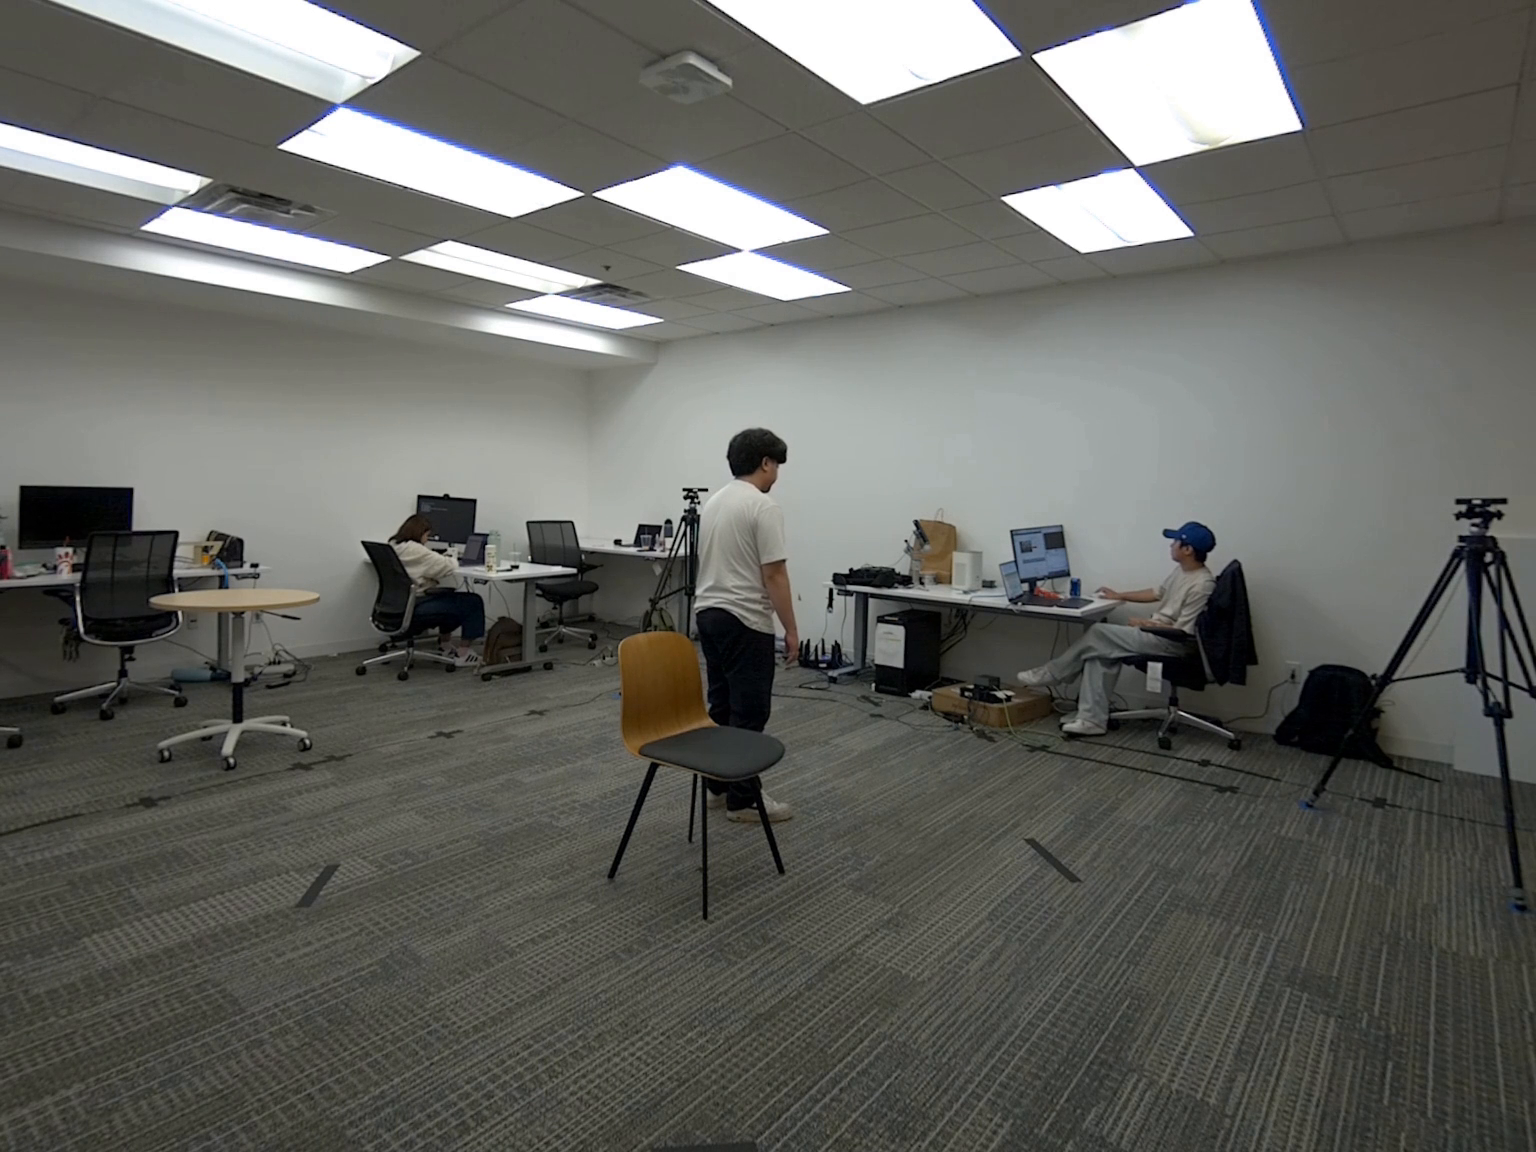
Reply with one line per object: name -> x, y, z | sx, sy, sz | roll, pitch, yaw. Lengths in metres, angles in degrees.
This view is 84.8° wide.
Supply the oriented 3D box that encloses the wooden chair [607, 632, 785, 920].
wooden chair -> -0.247, 0.653, 3.015 | 0.539, 0.878, 0.464 | -2, 0, 38
